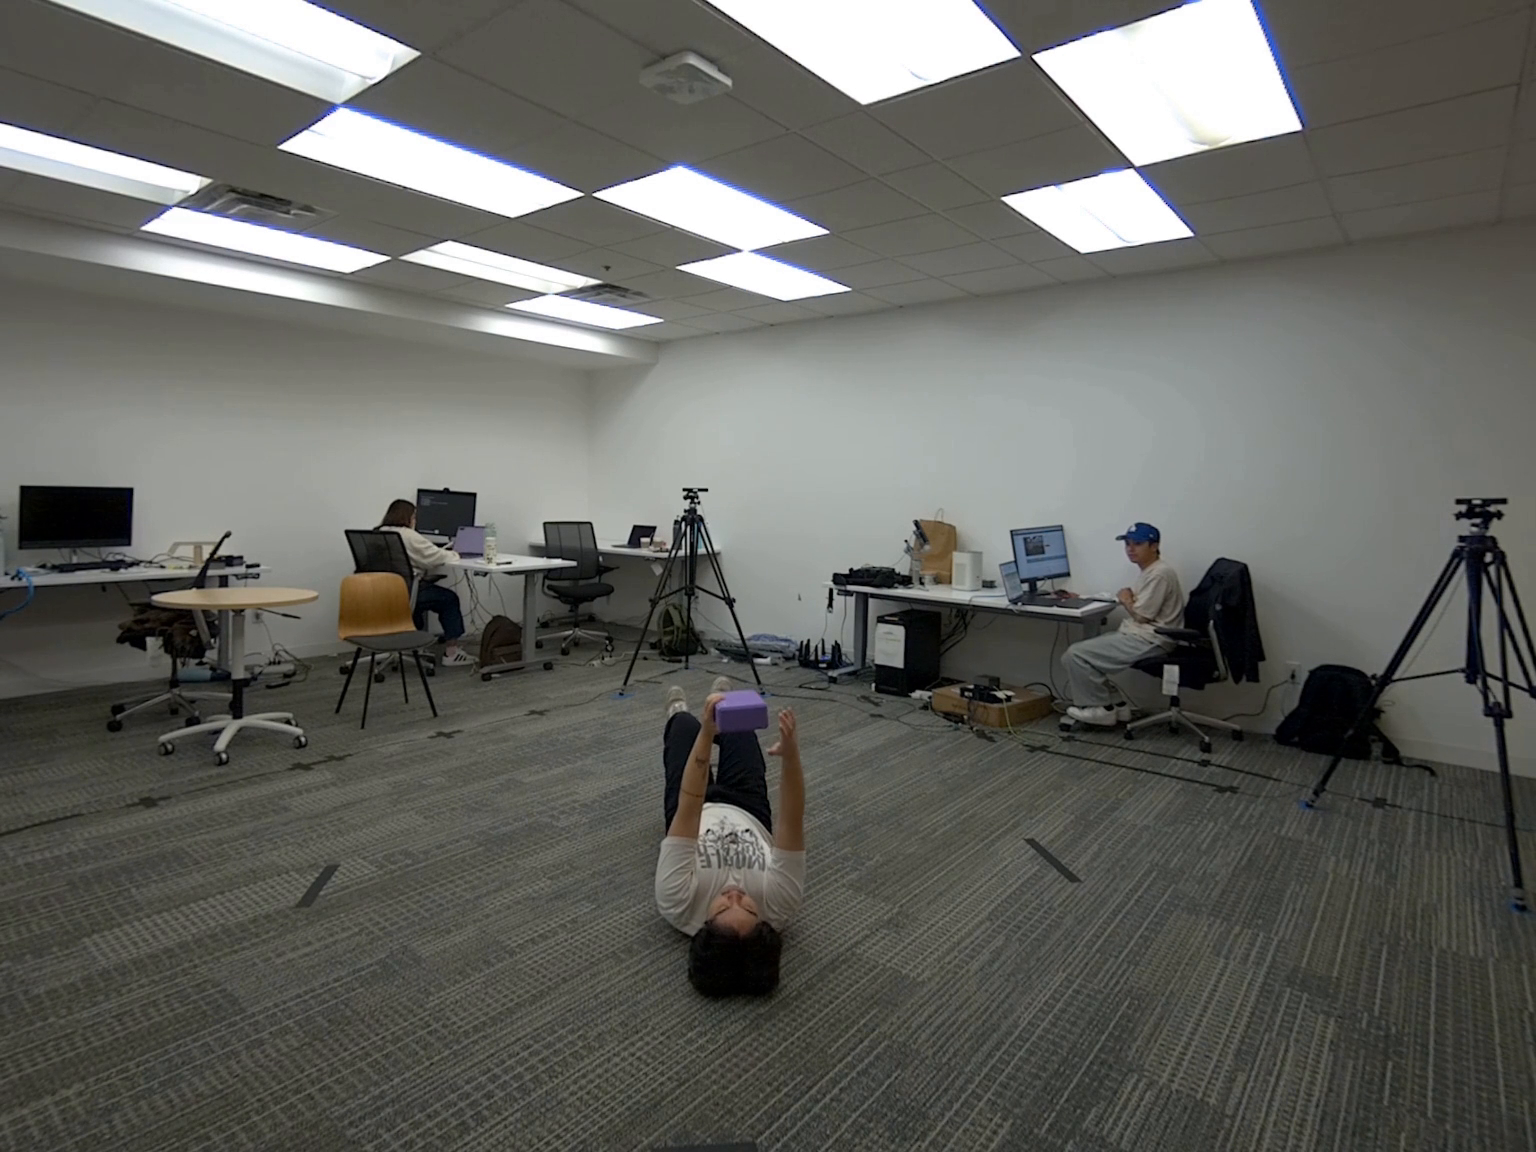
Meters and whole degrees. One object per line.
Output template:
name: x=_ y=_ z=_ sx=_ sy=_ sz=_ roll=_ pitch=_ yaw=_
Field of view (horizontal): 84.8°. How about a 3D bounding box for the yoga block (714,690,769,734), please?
yoga block: x=-0.102 y=0.414 z=2.589 sx=0.148 sy=0.076 sz=0.231 roll=-4 pitch=3 yaw=-8
